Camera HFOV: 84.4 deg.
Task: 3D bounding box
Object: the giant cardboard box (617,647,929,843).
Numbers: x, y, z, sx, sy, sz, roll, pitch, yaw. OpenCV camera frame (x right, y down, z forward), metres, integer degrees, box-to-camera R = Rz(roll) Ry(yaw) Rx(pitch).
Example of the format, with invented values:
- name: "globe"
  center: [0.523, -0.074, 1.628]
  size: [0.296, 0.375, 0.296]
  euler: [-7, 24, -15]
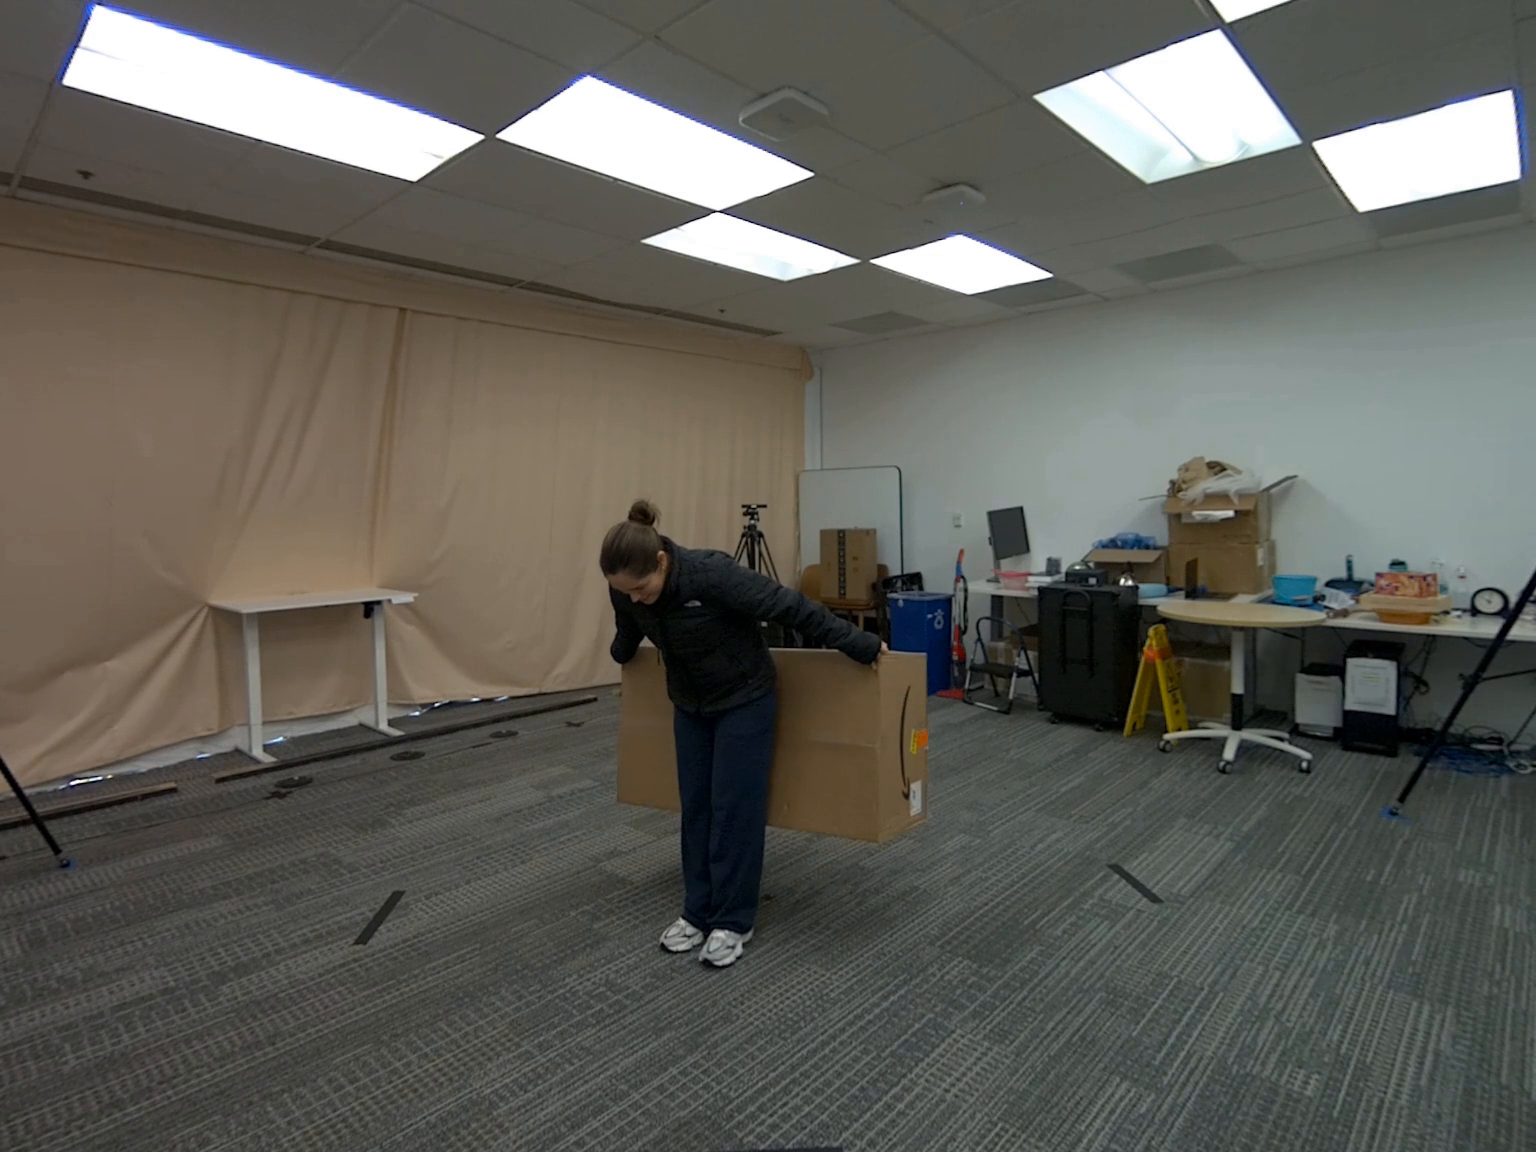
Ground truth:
- name: "giant cardboard box"
  center: [0.014, 0.557, 3.017]
  size: [1.055, 0.579, 0.413]
  euler: [-1, -6, 31]
